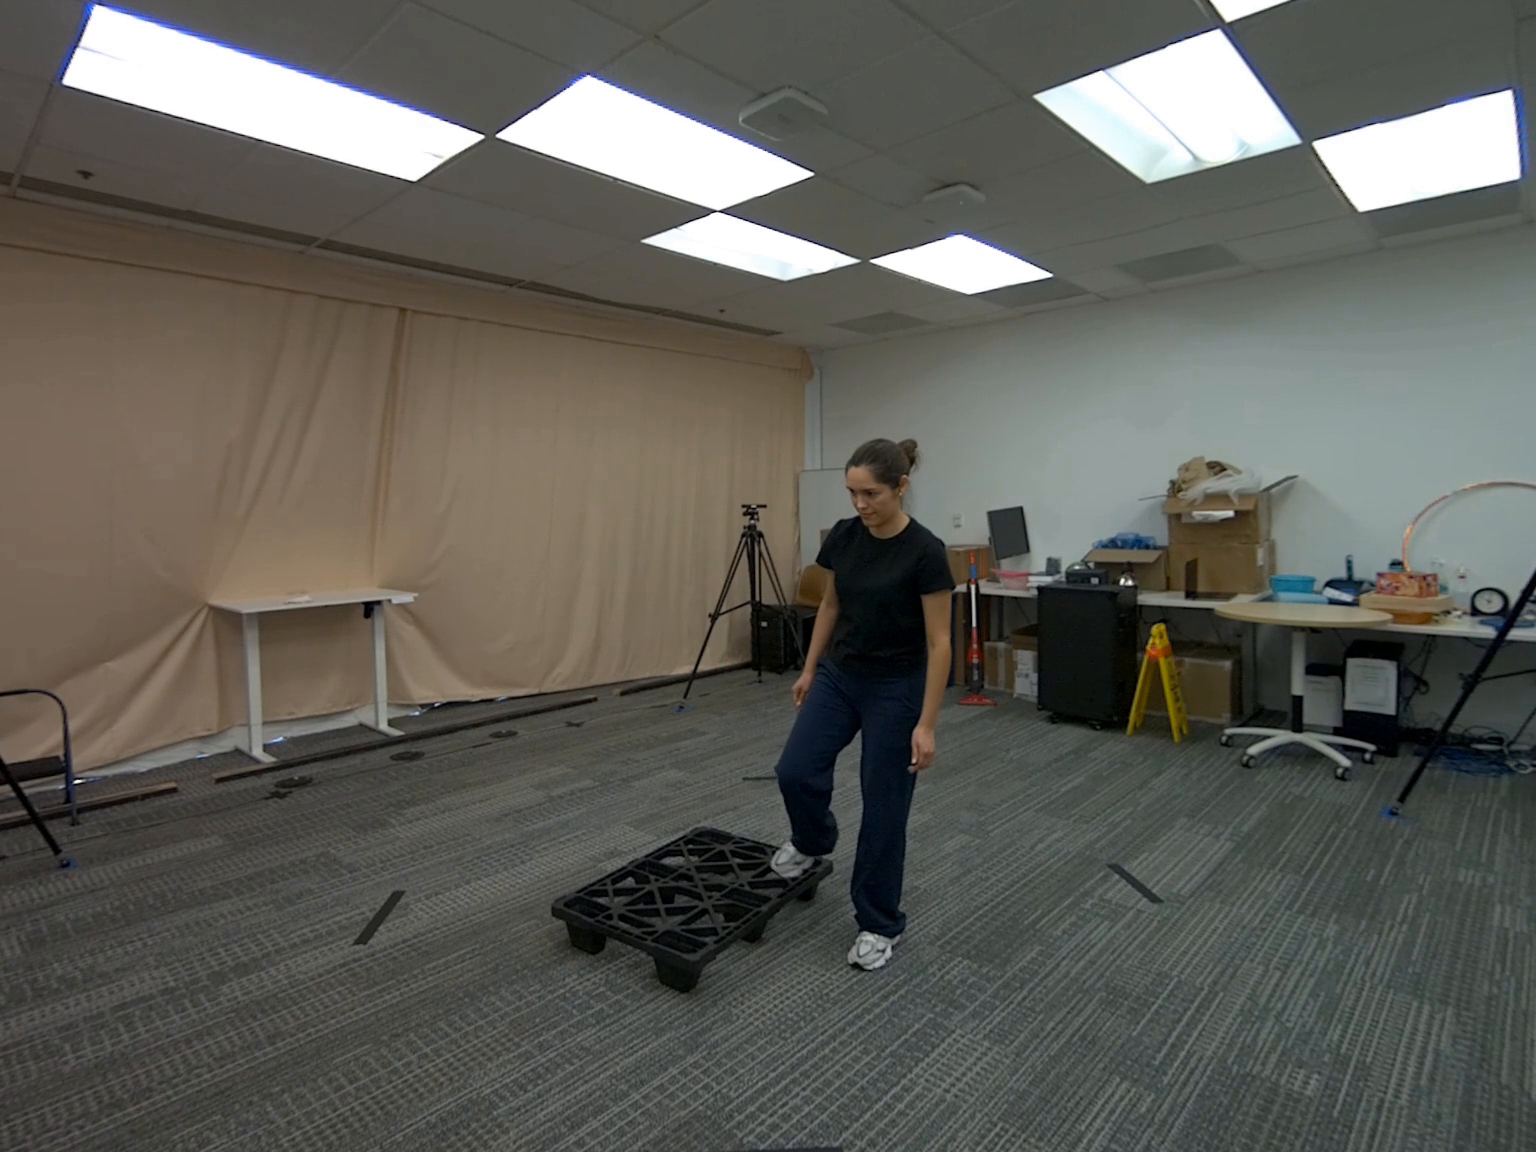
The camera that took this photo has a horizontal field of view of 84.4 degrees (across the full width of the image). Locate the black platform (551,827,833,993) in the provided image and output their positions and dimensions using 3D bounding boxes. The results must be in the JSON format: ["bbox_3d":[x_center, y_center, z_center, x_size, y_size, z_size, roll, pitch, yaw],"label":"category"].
[{"bbox_3d":[-0.210,1.091,2.829,0.624,0.143,0.783,3,7,35],"label":"black platform"}]
